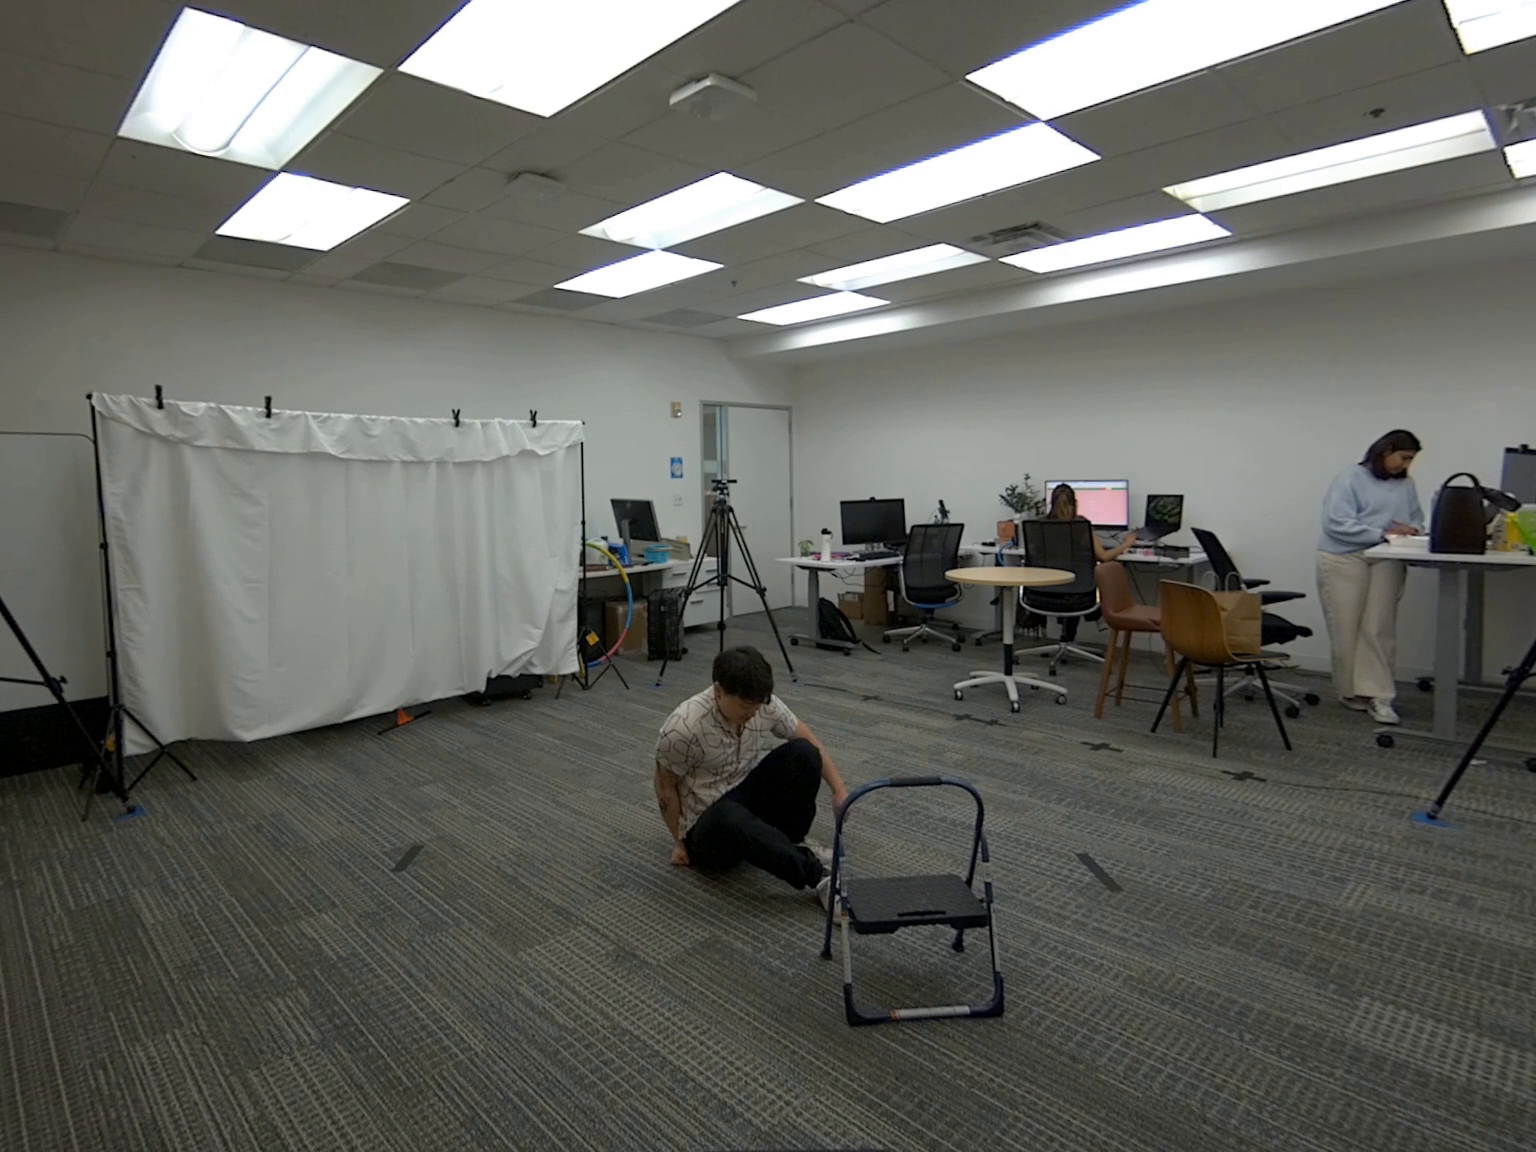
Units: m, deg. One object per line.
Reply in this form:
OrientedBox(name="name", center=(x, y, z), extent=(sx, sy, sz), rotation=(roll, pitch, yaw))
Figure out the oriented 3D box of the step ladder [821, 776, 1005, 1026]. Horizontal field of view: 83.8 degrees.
OrientedBox(name="step ladder", center=(0.389, 0.827, 2.341), extent=(0.428, 0.604, 0.352), rotation=(-2, 4, -6))
